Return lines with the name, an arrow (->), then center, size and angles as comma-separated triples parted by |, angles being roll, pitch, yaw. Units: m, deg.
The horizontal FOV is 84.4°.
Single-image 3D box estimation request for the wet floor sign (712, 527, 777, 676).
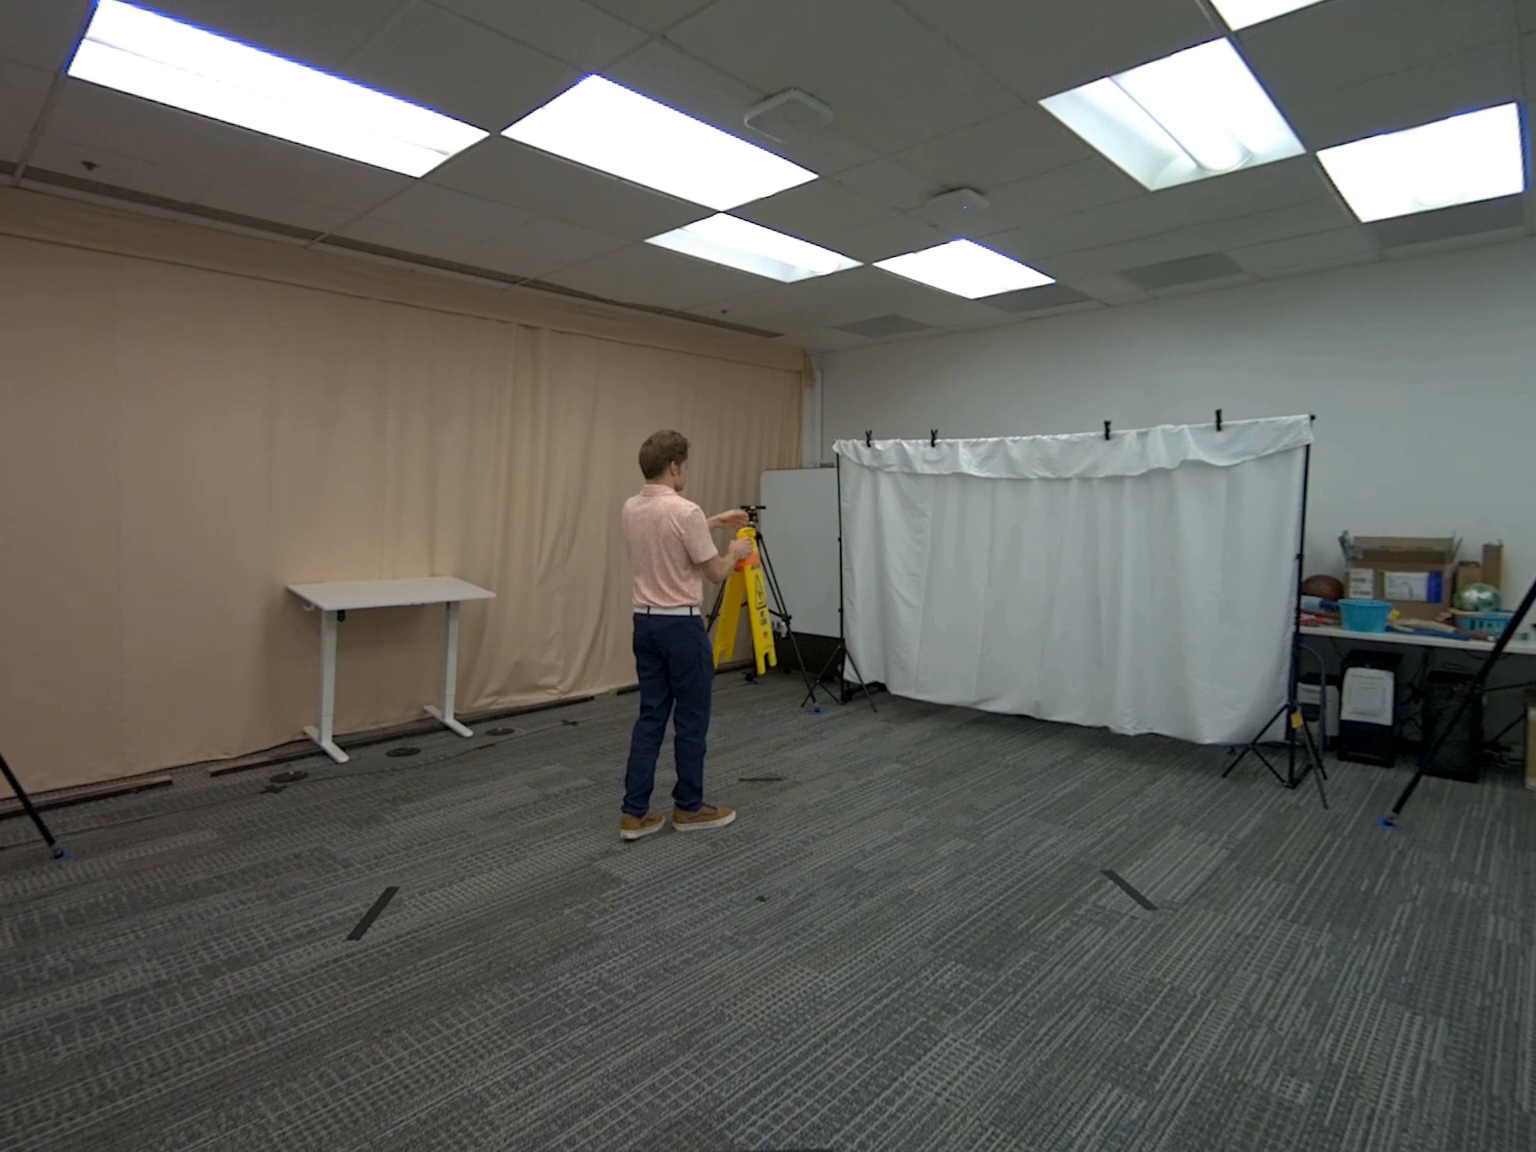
wet floor sign -> -0.101, 0.104, 3.906 | 0.295, 0.644, 0.277 | 3, 4, 17
